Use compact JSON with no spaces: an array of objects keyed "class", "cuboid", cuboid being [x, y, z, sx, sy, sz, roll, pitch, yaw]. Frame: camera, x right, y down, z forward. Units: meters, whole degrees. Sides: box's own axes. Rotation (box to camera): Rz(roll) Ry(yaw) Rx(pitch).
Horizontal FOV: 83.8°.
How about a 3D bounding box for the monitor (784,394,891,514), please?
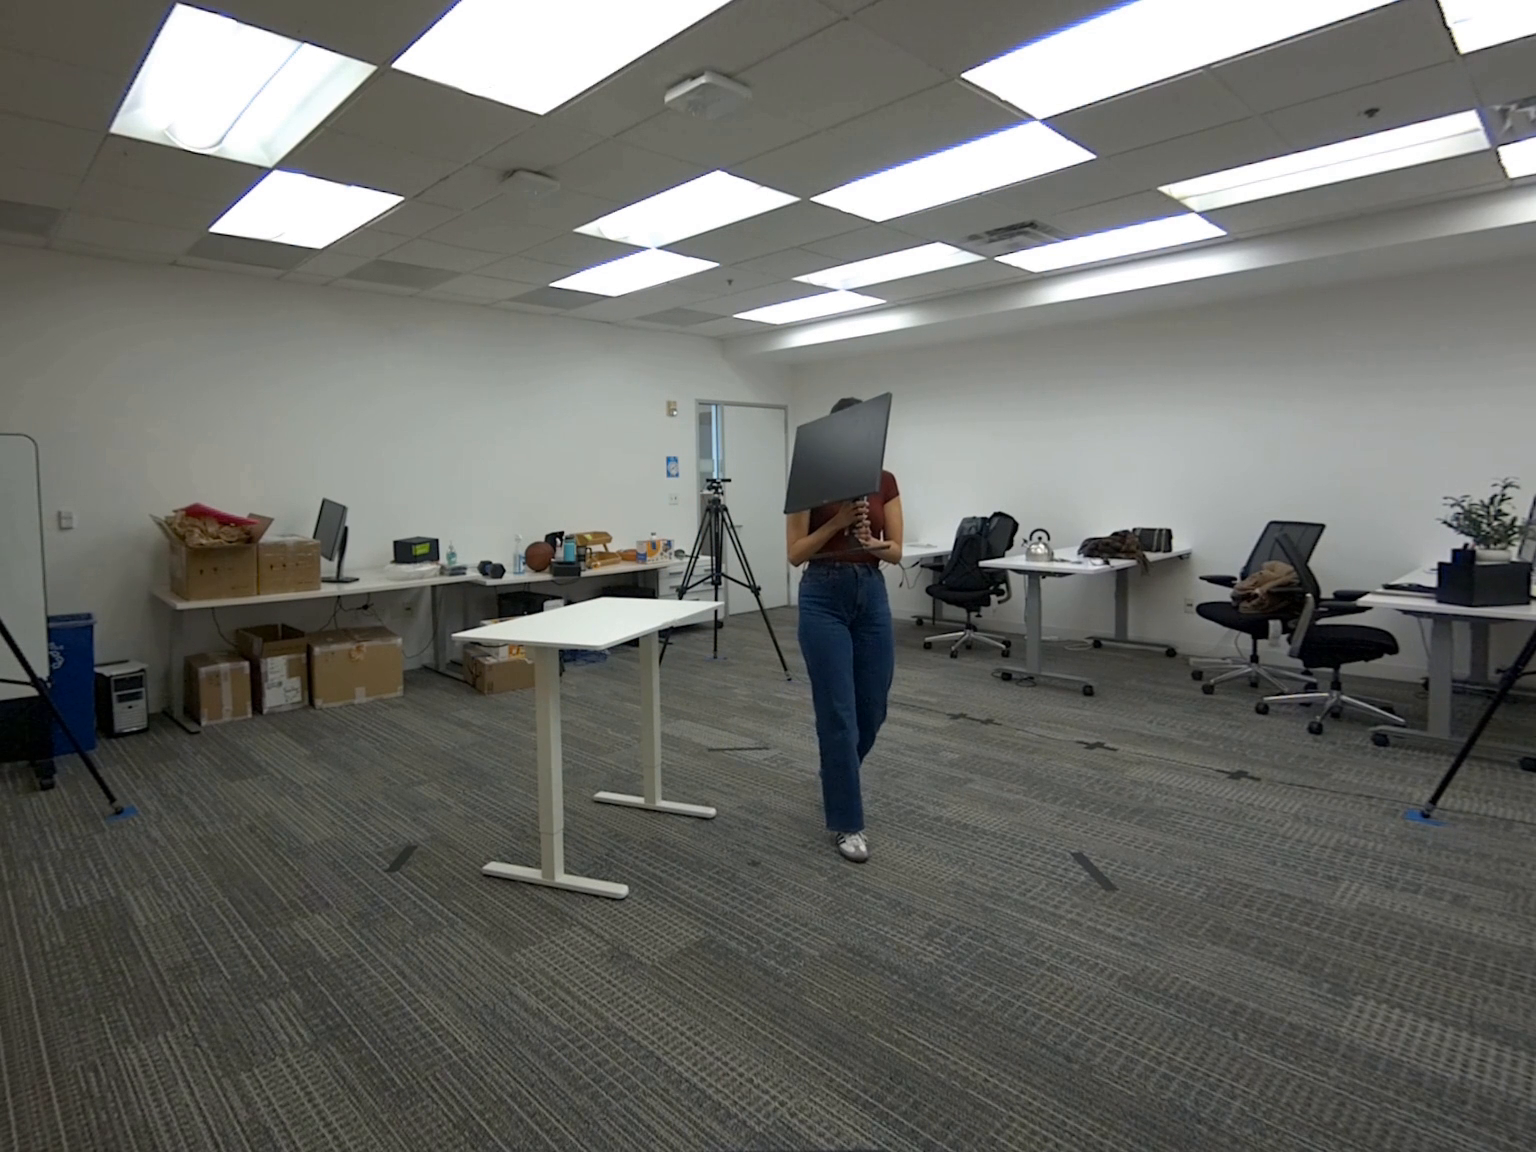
[{"class":"monitor","cuboid":[0.269,-0.331,3.037,0.182,0.525,0.551,2,-6,-33]}]
